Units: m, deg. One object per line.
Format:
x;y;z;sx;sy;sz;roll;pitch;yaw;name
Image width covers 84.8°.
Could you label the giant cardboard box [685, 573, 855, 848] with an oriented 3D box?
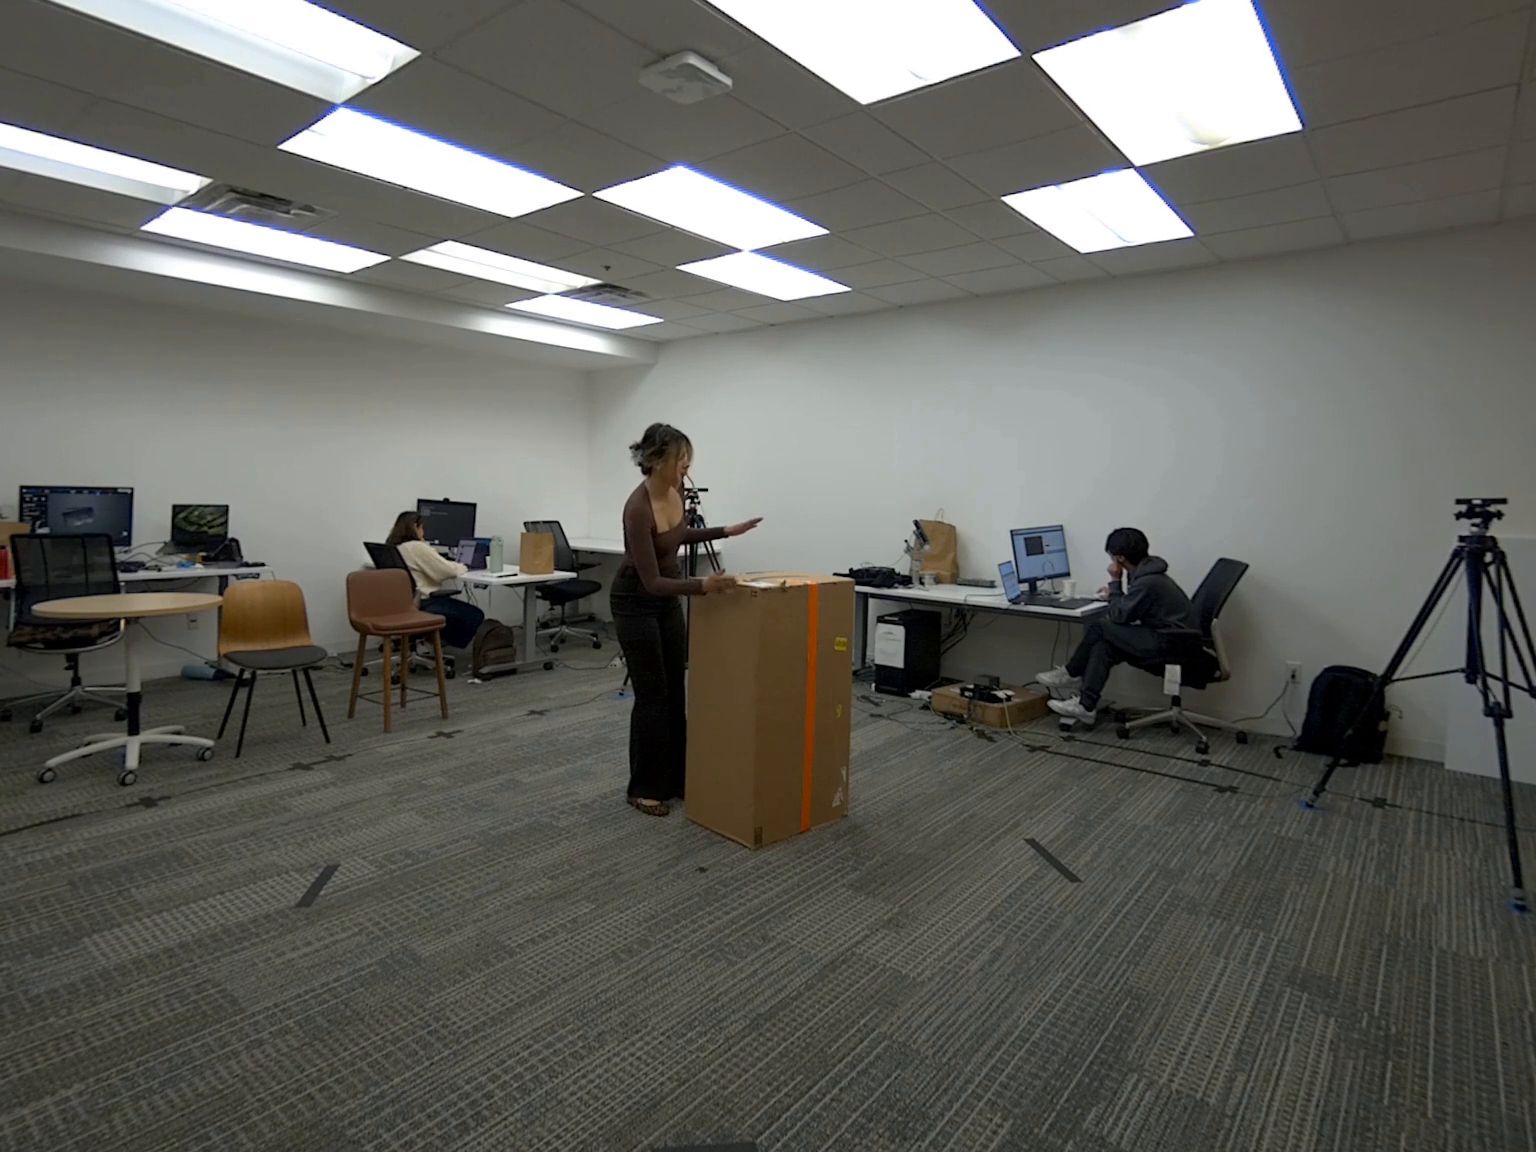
0.002;0.518;3.602;0.566;1.024;0.462;-2;5;-43;giant cardboard box
